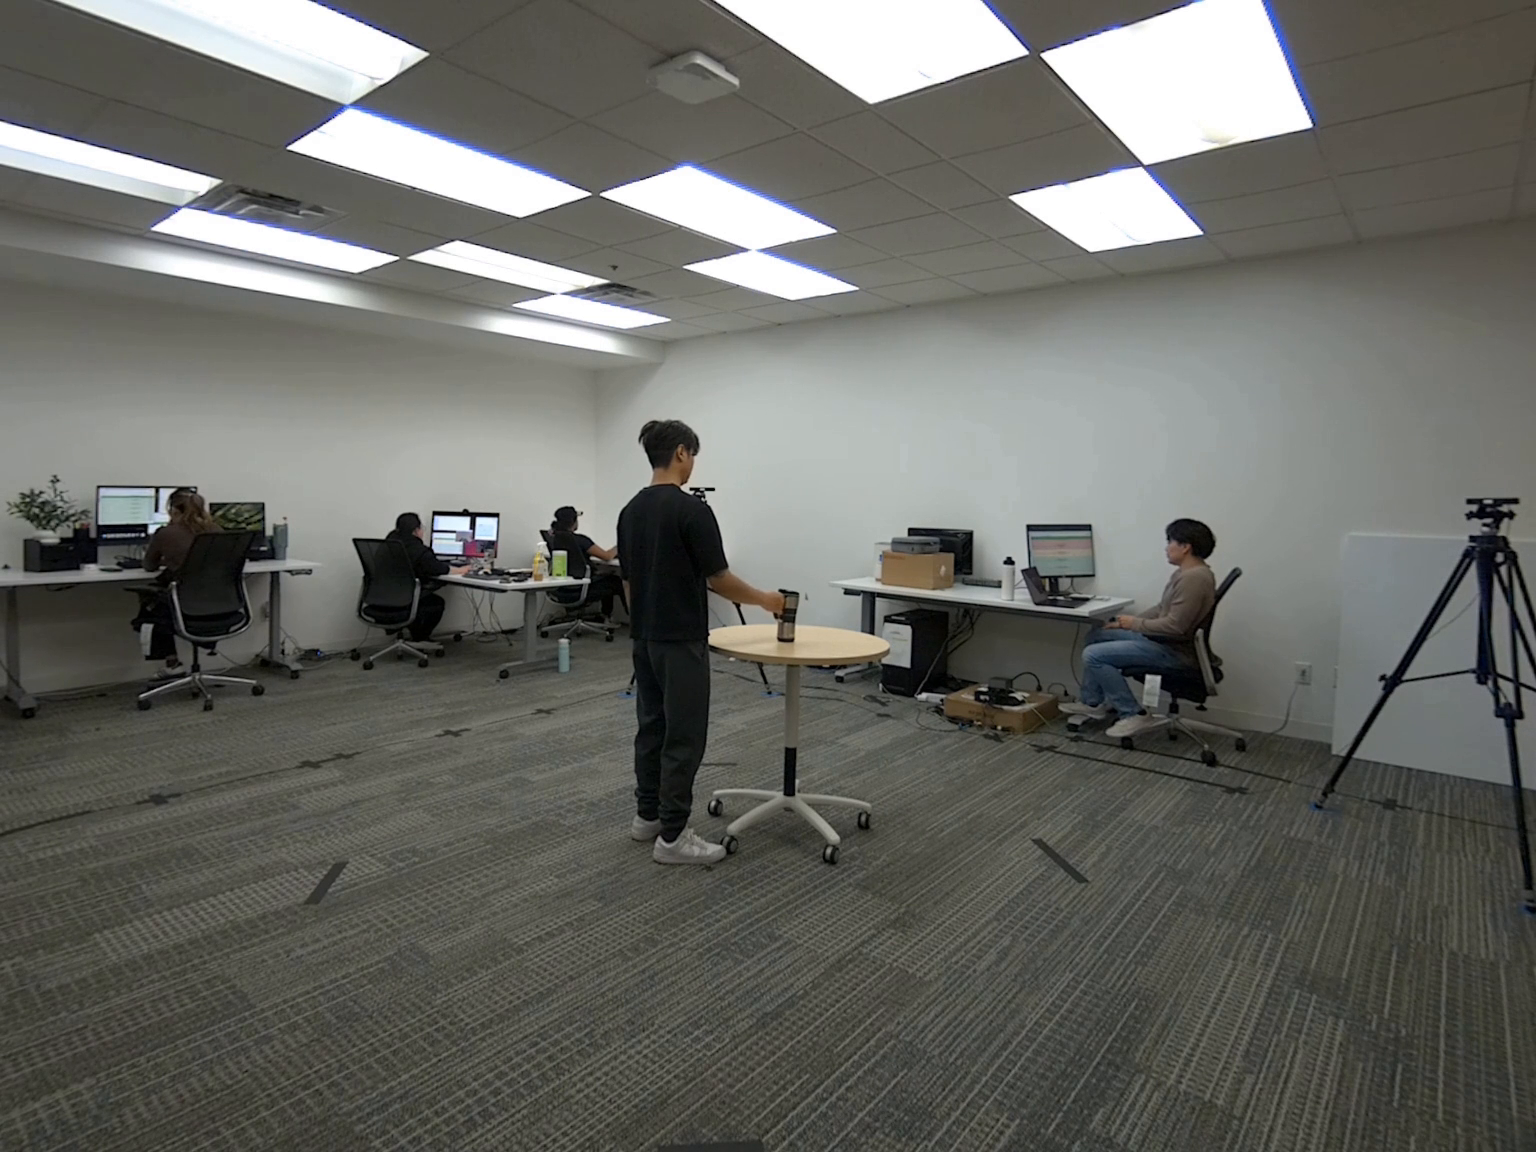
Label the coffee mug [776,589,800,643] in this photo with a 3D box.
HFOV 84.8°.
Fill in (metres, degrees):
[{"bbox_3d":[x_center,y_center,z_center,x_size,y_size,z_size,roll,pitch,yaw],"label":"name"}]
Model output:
[{"bbox_3d":[0.045,0.156,3.409,0.118,0.202,0.091,4,5,-36],"label":"coffee mug"}]
